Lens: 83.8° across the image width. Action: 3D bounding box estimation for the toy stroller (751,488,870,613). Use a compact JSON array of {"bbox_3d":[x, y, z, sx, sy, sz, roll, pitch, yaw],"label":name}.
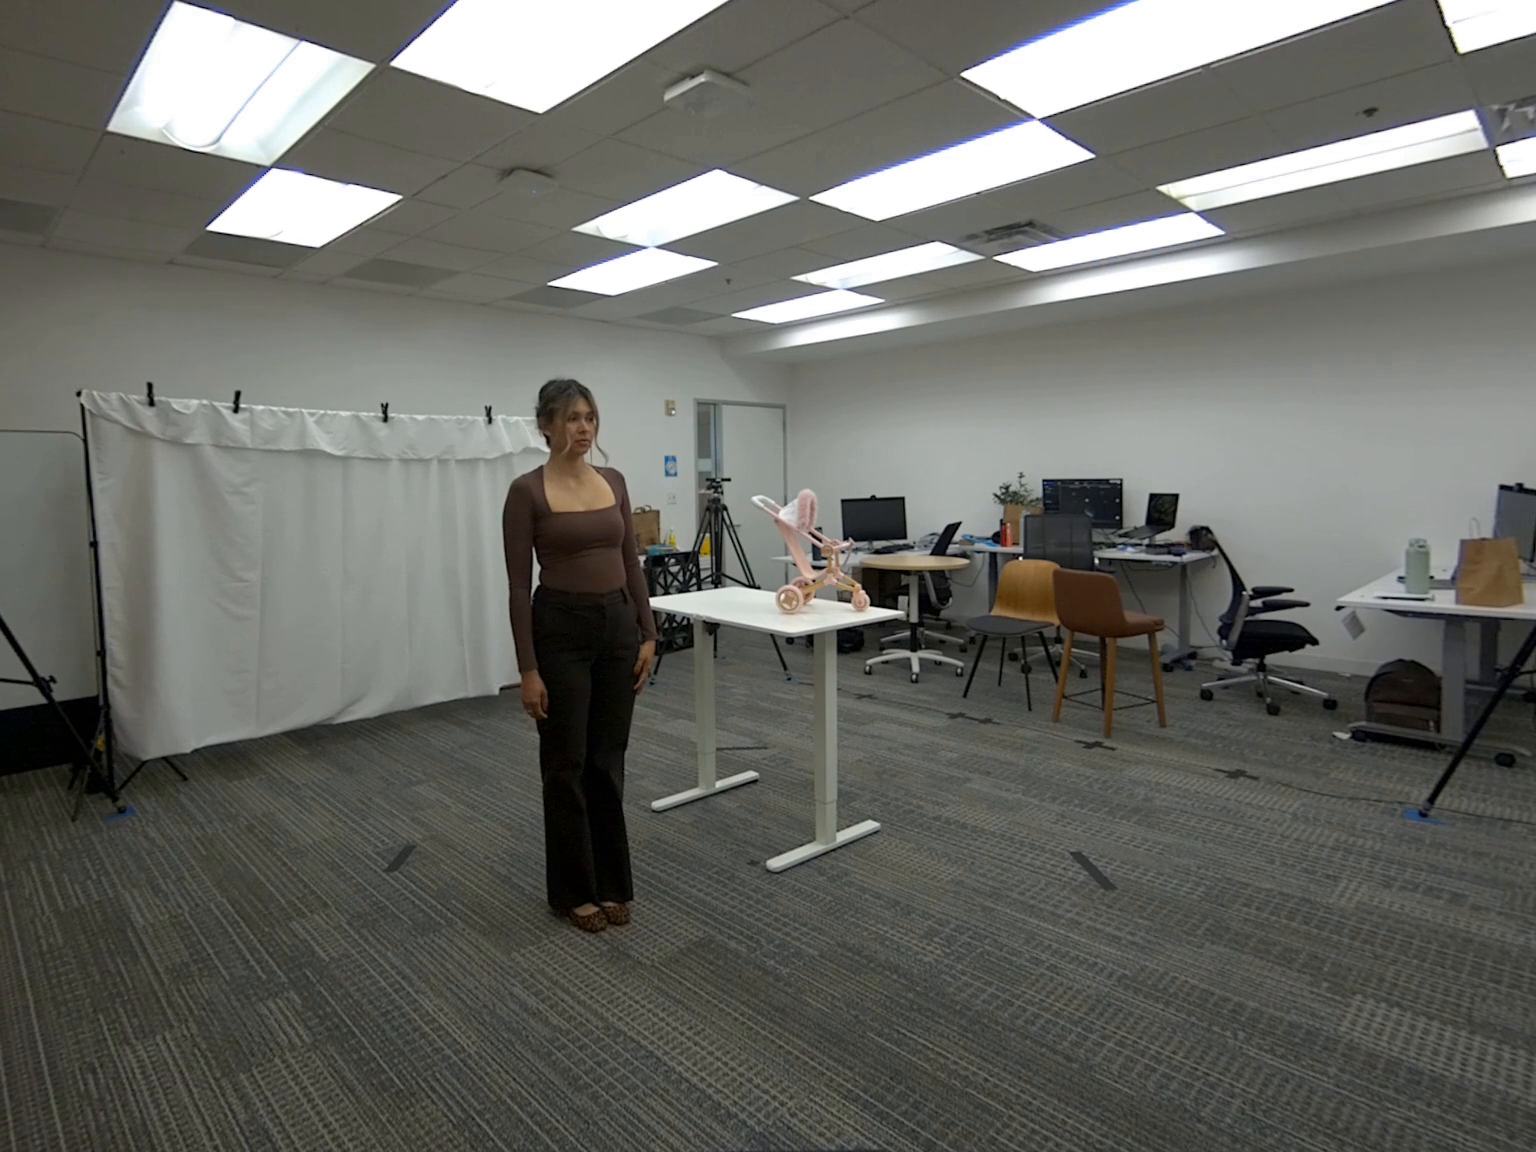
[{"bbox_3d":[0.176,-0.092,3.314,0.346,0.535,0.277,-15,0,21],"label":"toy stroller"}]
